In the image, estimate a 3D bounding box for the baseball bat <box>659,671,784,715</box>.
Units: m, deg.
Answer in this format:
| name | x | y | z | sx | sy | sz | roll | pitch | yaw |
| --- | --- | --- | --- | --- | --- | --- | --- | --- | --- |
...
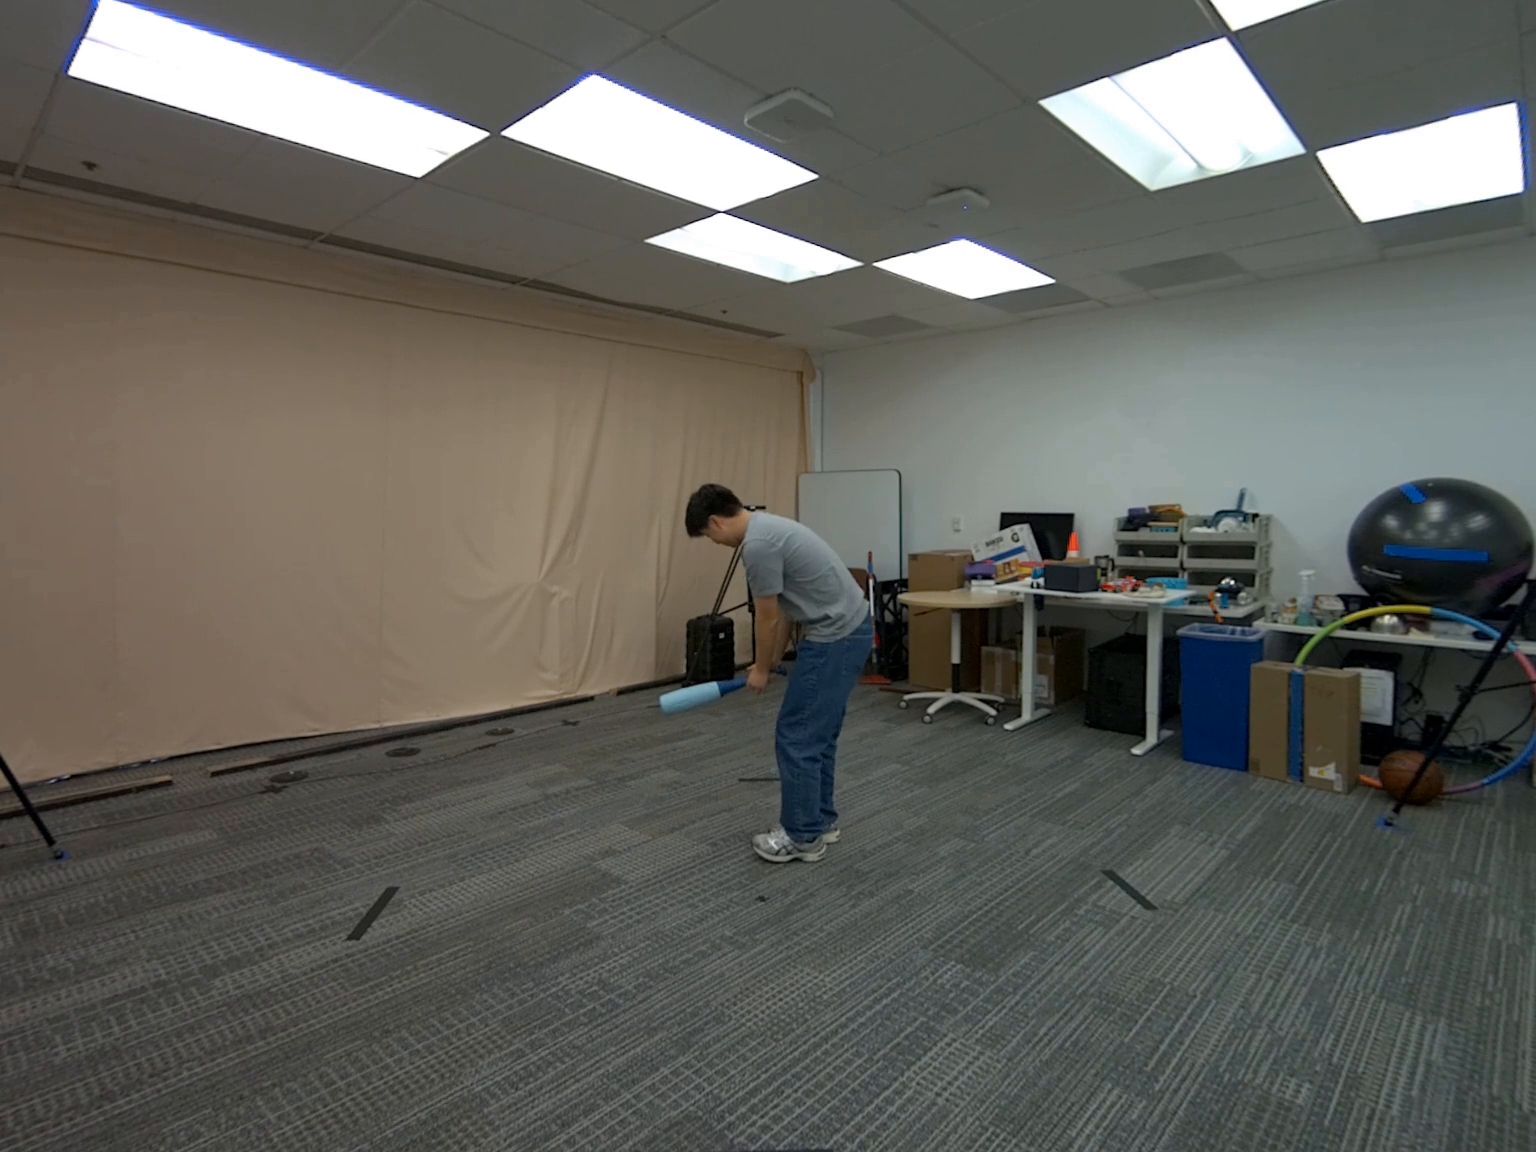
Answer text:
| name | x | y | z | sx | sy | sz | roll | pitch | yaw |
| --- | --- | --- | --- | --- | --- | --- | --- | --- | --- |
| baseball bat | -0.174 | 0.477 | 3.503 | 0.540 | 0.089 | 0.090 | -14 | 5 | -5 |
